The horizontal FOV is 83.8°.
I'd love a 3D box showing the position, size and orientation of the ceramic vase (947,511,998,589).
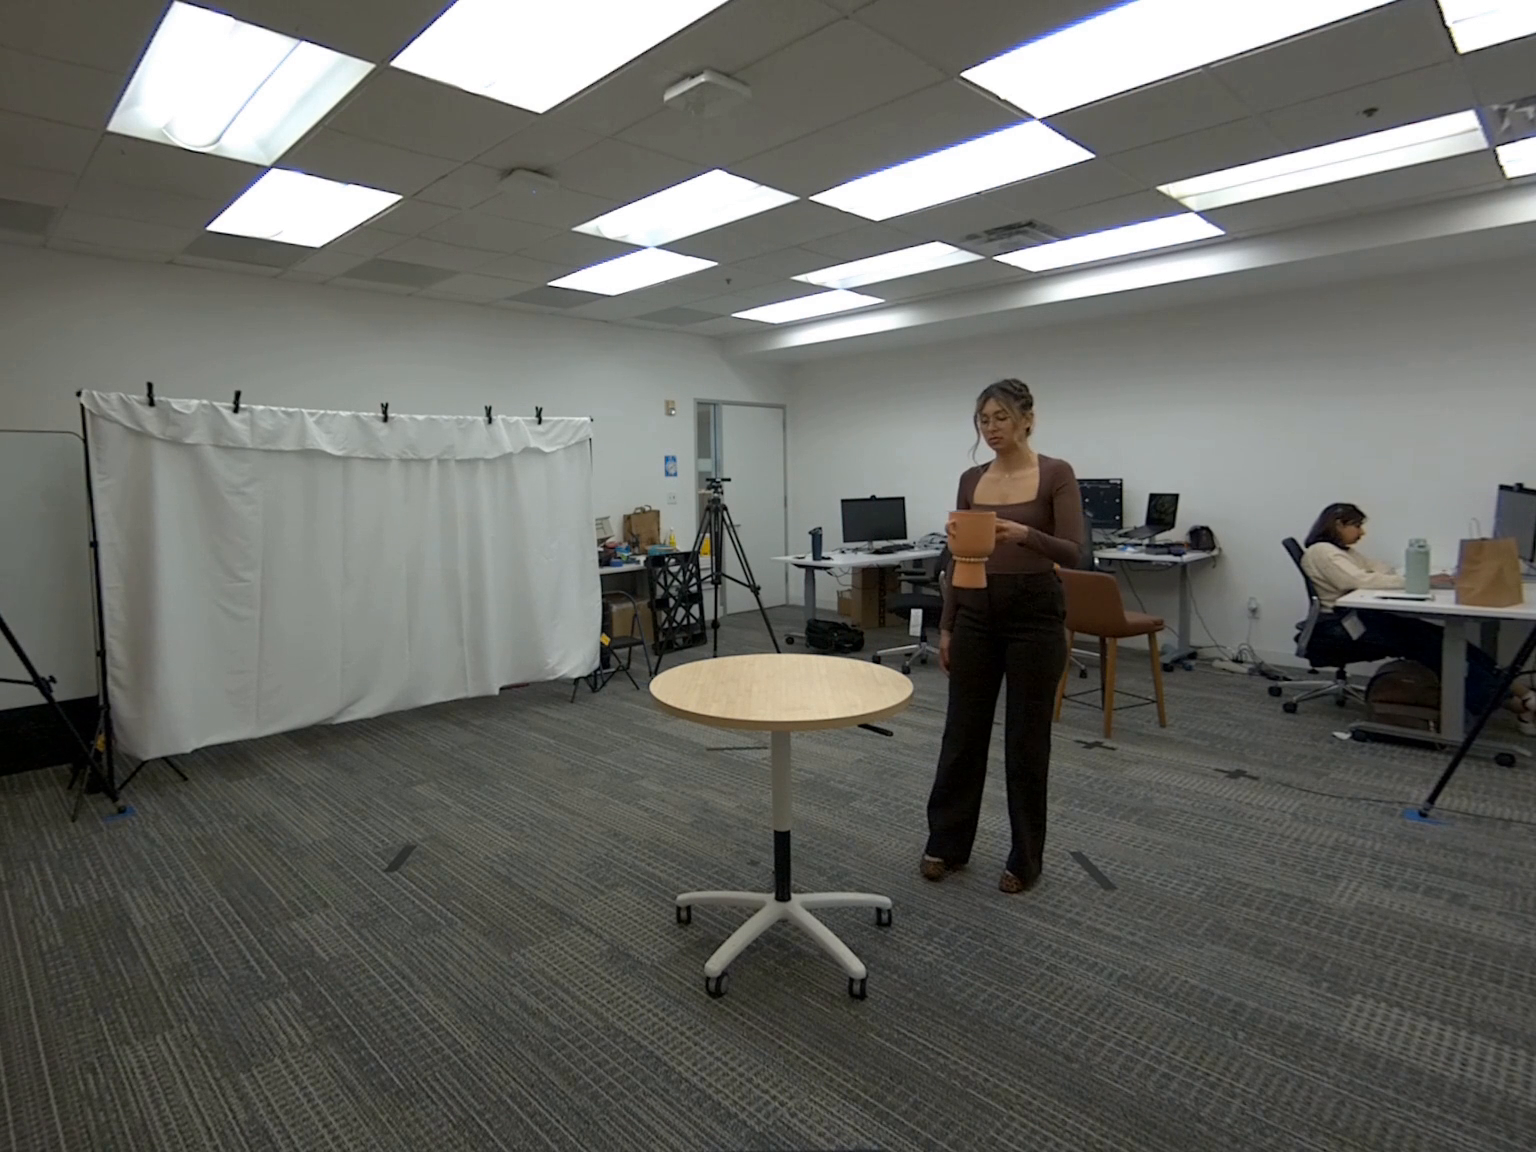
[{"bbox_3d":[0.612,-0.081,2.514,0.160,0.219,0.134,2,5,7],"label":"ceramic vase"}]
